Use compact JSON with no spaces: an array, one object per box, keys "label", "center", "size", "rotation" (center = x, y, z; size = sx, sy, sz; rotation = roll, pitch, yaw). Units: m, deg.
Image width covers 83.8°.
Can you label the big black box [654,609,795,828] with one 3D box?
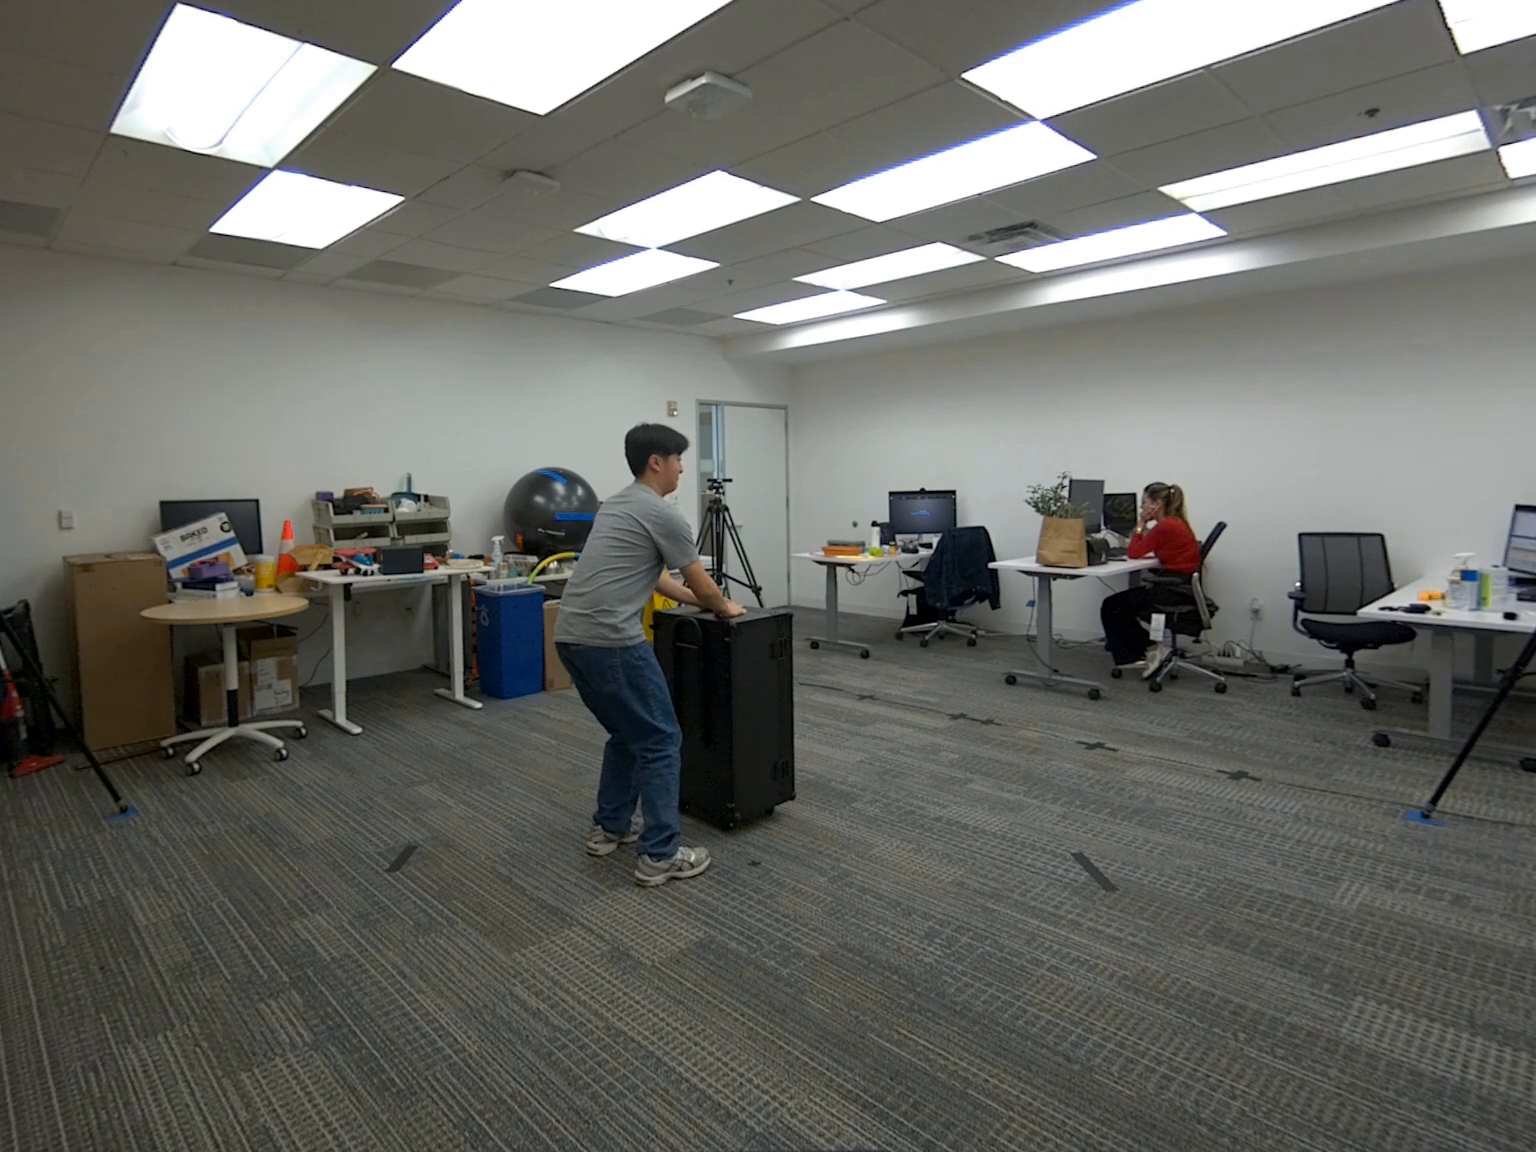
[{"label":"big black box","center":[-0.184,0.570,3.570],"size":[0.386,0.858,0.537],"rotation":[-6,7,-45]}]
